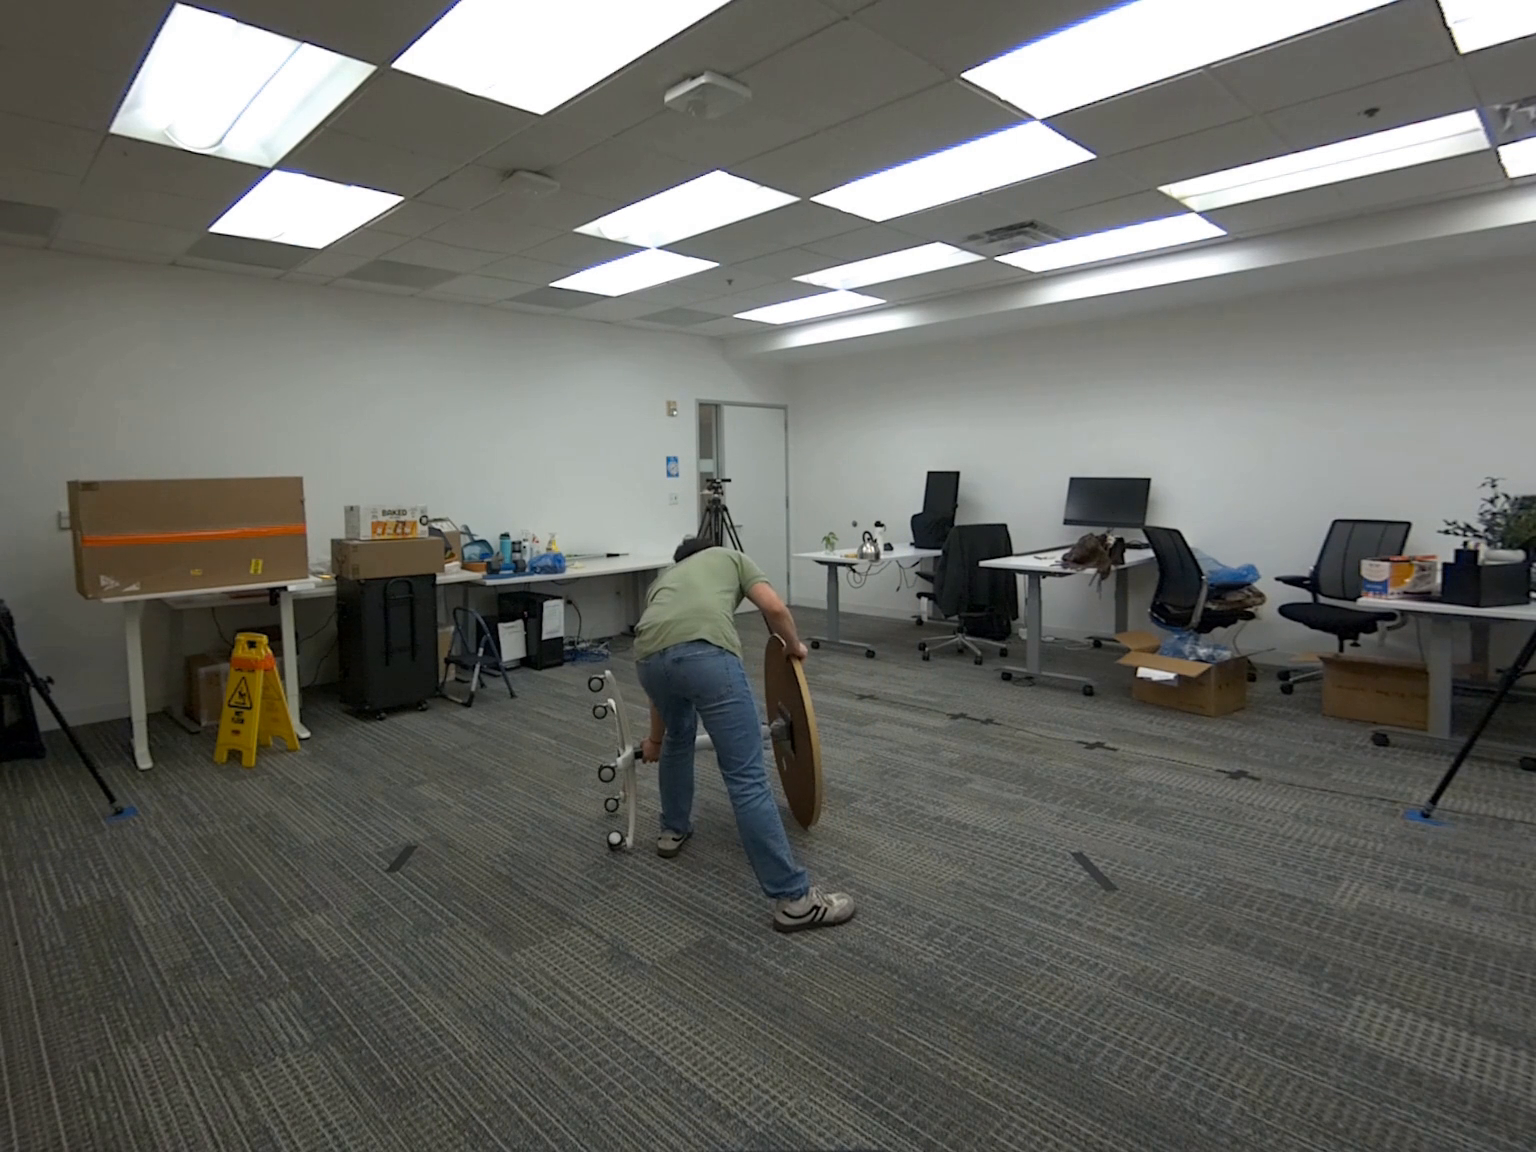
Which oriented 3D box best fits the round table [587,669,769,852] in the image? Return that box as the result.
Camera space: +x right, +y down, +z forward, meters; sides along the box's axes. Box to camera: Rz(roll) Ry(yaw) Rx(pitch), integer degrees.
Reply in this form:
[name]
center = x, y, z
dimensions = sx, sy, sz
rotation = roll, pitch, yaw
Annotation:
[round table]
center = -0.278, 0.667, 3.406
dimensions = 0.787, 0.760, 0.775
rotation = -7, 6, -11
